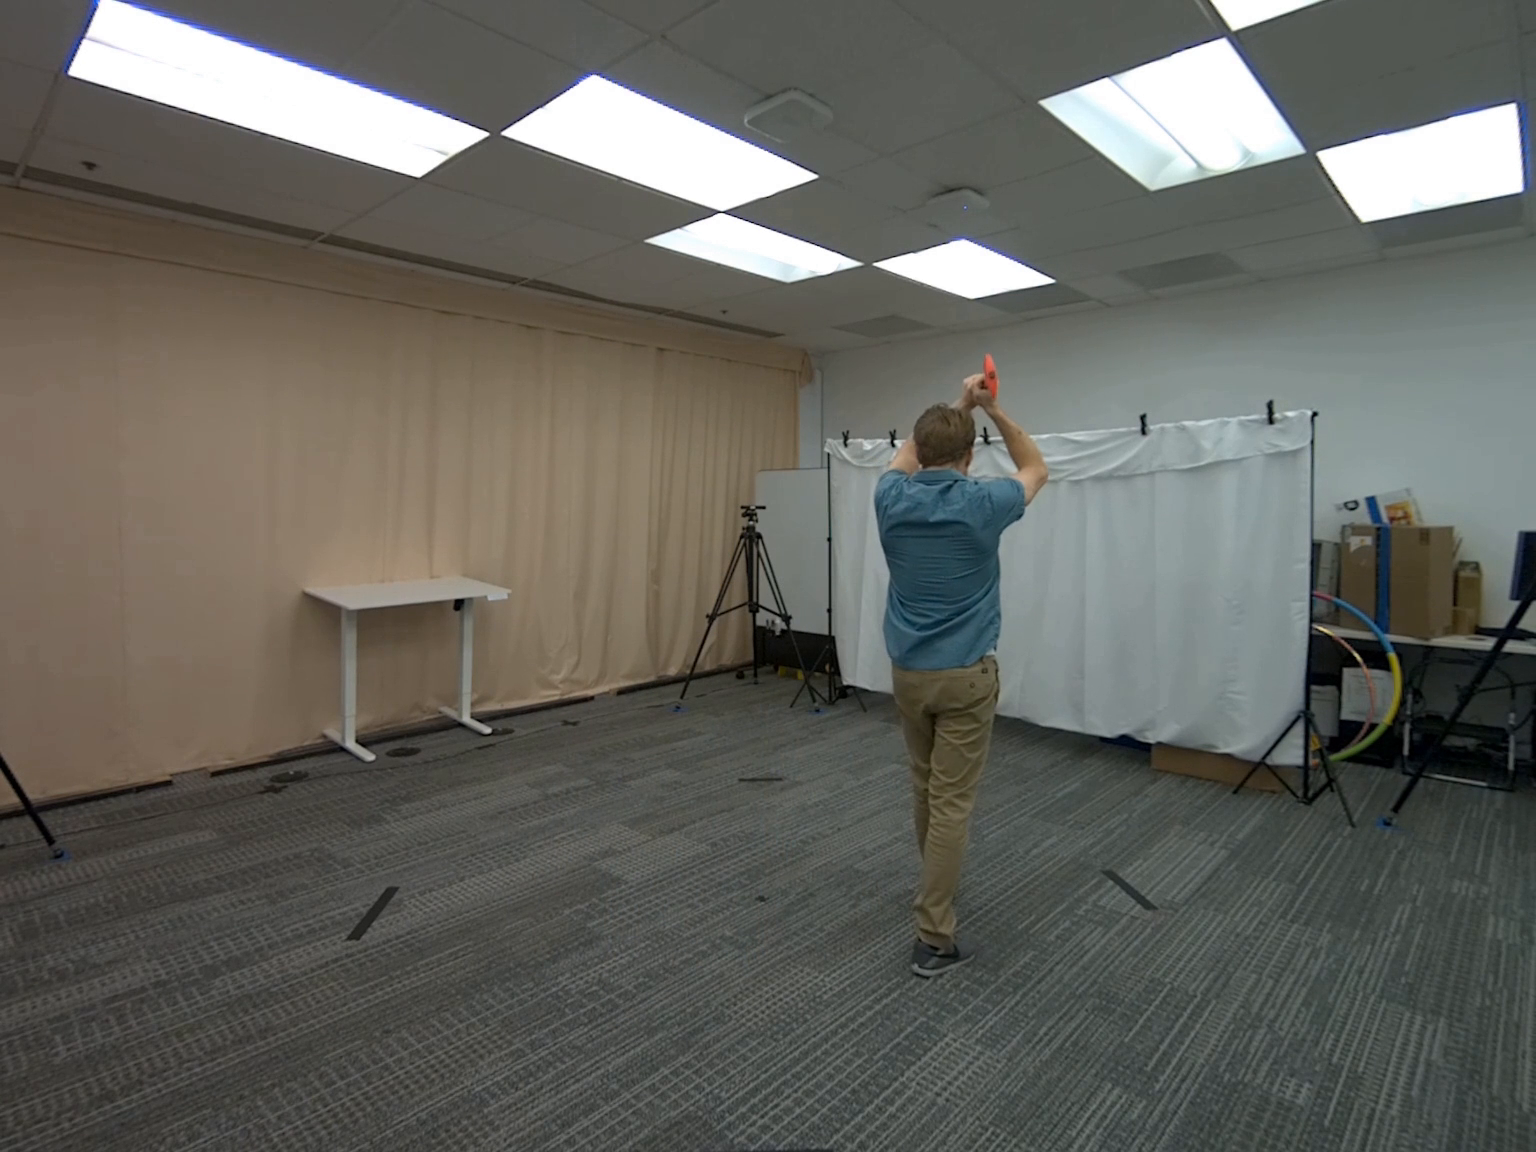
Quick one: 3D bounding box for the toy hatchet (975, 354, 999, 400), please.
[{"bbox_3d":[0.675,-0.636,2.639,0.030,0.129,0.272,-7,18,2],"label":"toy hatchet"}]
